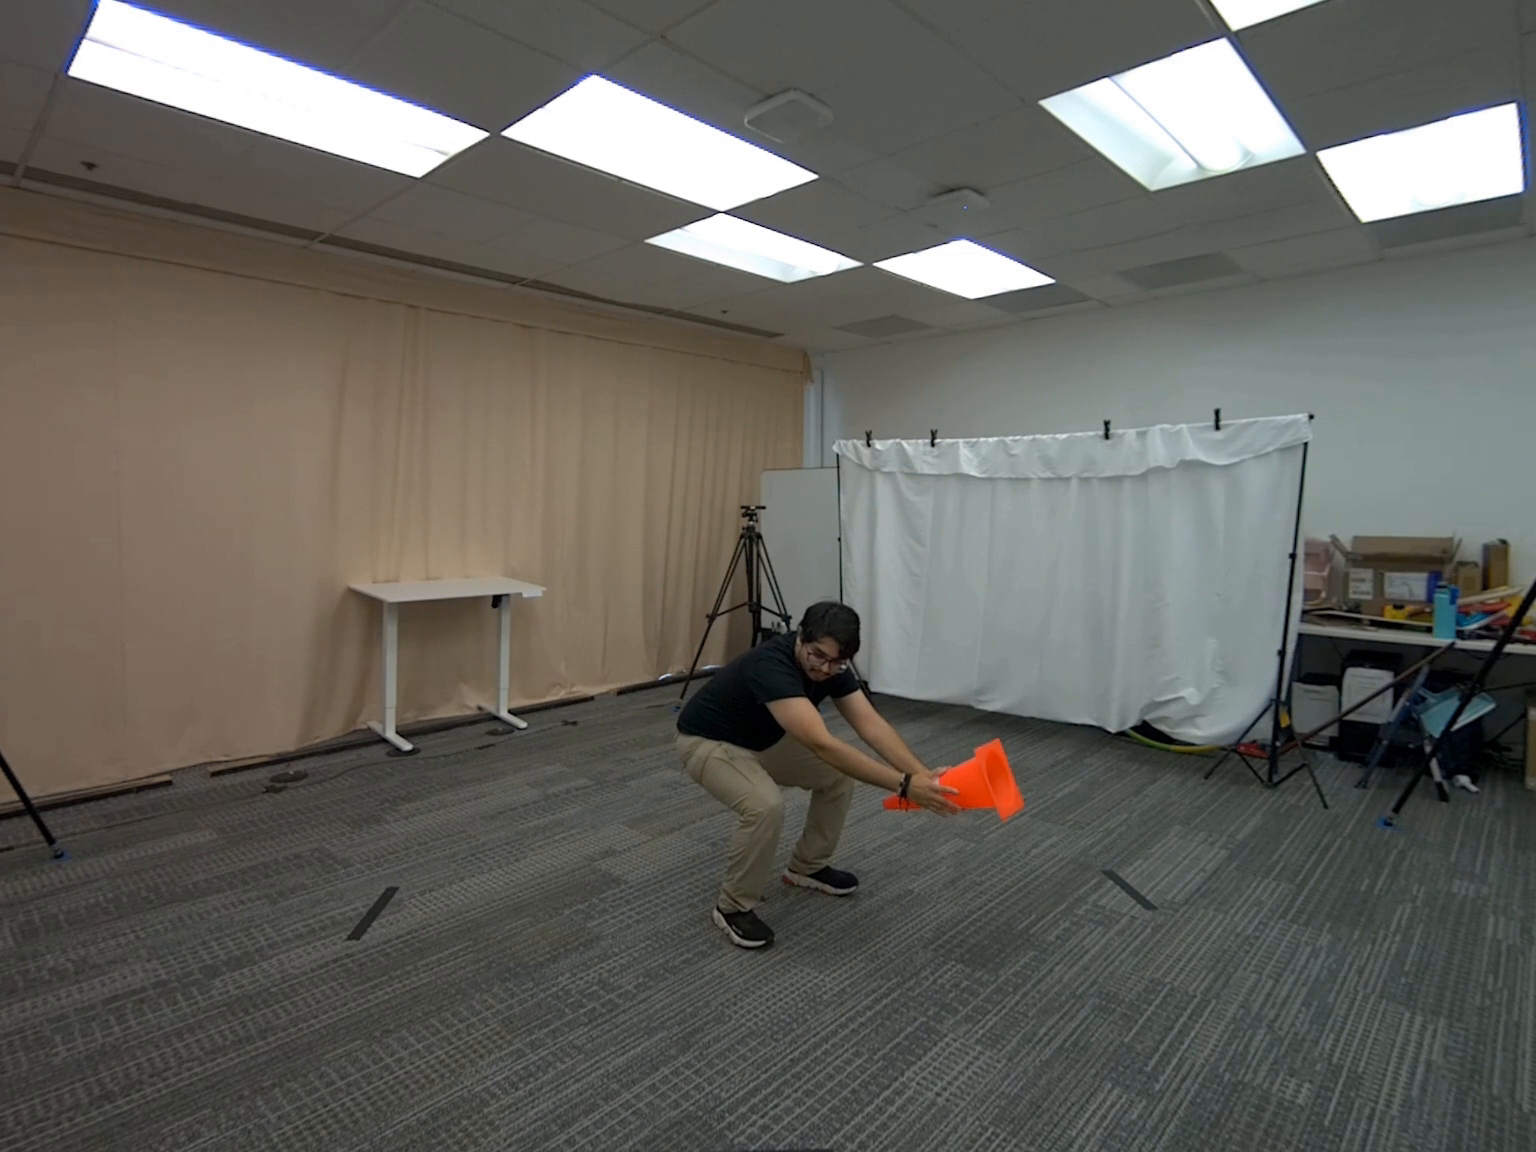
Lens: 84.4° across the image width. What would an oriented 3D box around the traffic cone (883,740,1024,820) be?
[{"bbox_3d":[0.524,0.635,2.479,0.391,0.206,0.198,-23,-14,33],"label":"traffic cone"}]
